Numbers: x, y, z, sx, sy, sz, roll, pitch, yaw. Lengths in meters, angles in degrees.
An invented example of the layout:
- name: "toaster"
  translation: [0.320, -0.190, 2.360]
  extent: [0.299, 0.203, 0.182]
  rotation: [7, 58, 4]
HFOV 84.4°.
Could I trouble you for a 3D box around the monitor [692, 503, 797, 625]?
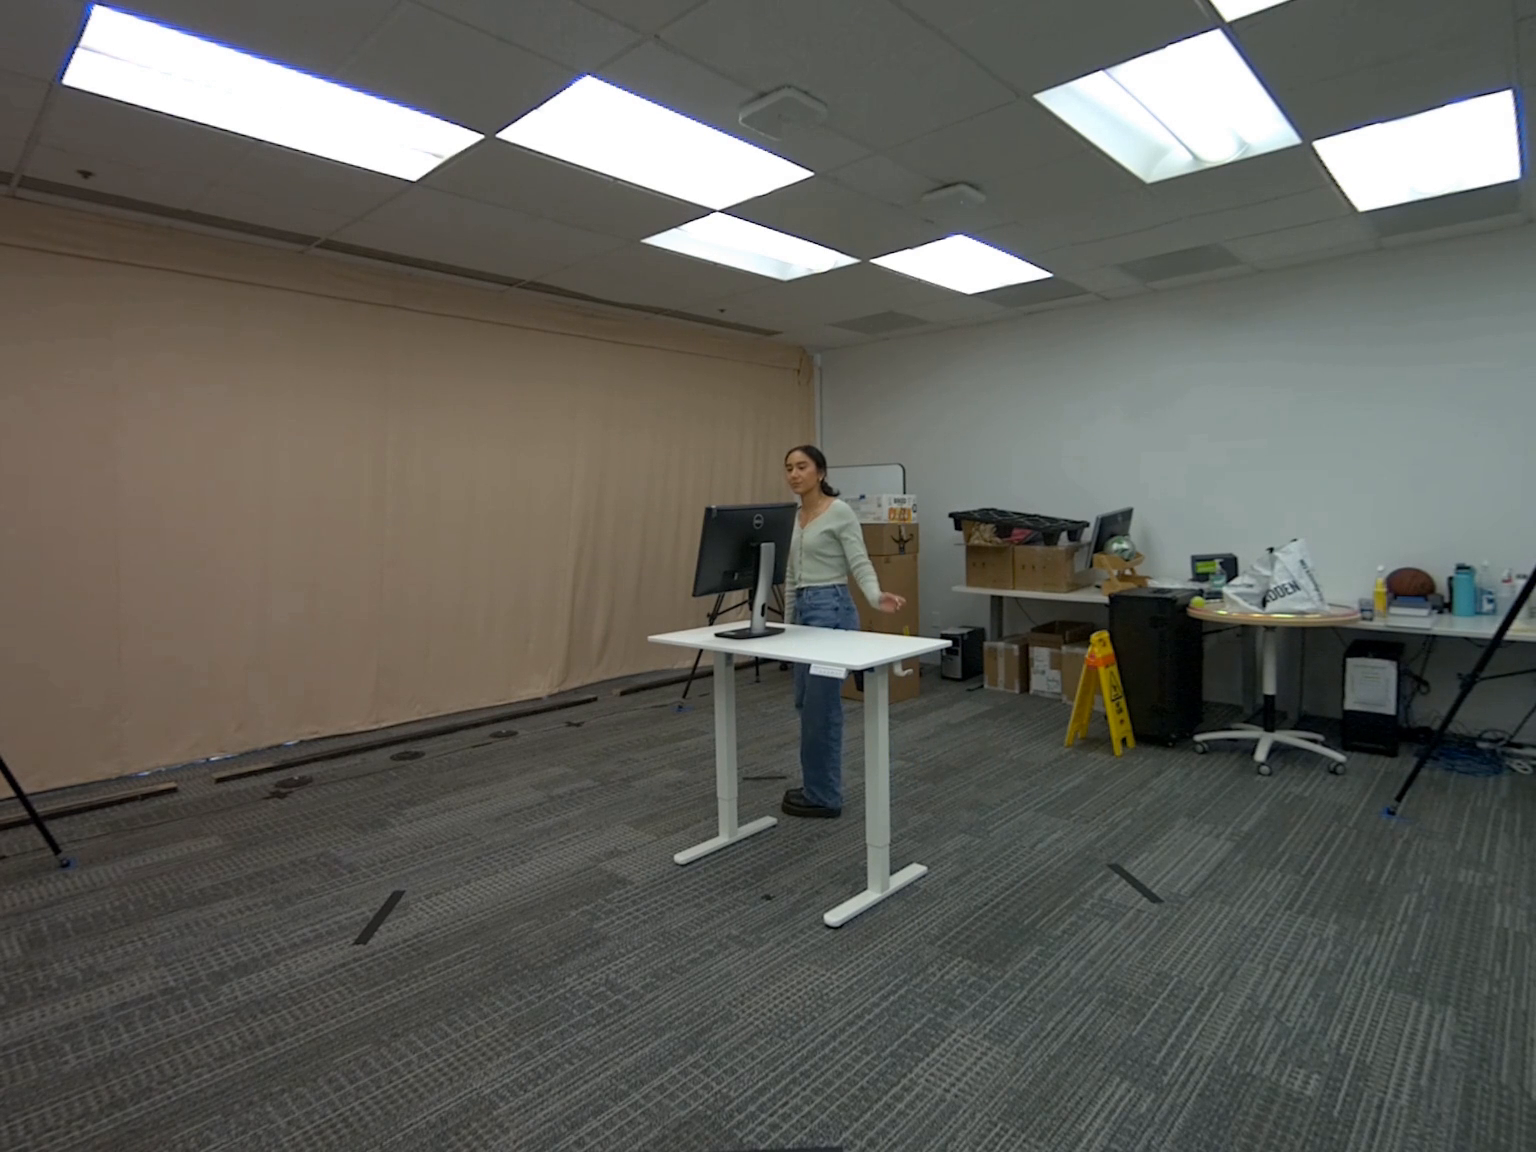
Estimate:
- name: "monitor"
  translation: [-0.058, -0.020, 3.306]
  extent: [0.193, 0.521, 0.523]
  rotation: [4, 7, 40]
